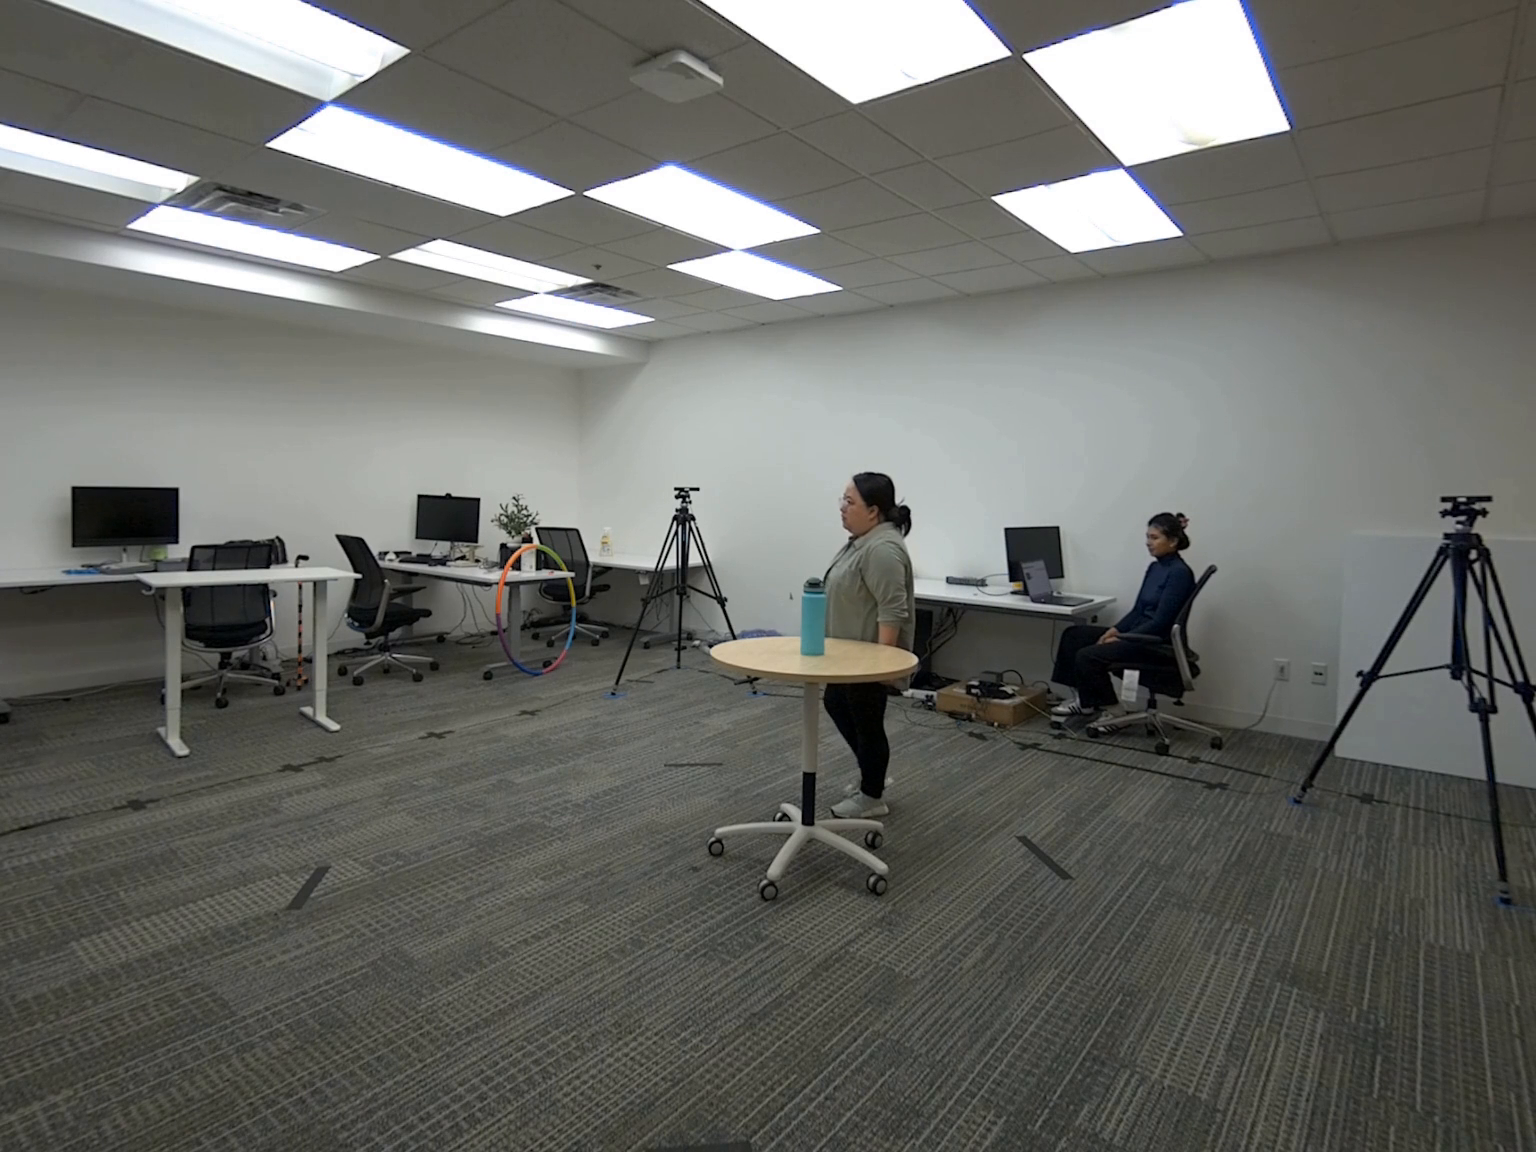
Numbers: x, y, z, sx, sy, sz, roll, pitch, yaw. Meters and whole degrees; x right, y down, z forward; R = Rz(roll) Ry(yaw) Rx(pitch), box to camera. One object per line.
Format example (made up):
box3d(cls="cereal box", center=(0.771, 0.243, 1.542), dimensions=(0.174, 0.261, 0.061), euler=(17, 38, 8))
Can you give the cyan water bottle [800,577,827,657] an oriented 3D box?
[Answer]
box3d(cls="cyan water bottle", center=(0.159, 0.147, 3.153), dimensions=(0.092, 0.283, 0.092), euler=(0, 1, -2))
